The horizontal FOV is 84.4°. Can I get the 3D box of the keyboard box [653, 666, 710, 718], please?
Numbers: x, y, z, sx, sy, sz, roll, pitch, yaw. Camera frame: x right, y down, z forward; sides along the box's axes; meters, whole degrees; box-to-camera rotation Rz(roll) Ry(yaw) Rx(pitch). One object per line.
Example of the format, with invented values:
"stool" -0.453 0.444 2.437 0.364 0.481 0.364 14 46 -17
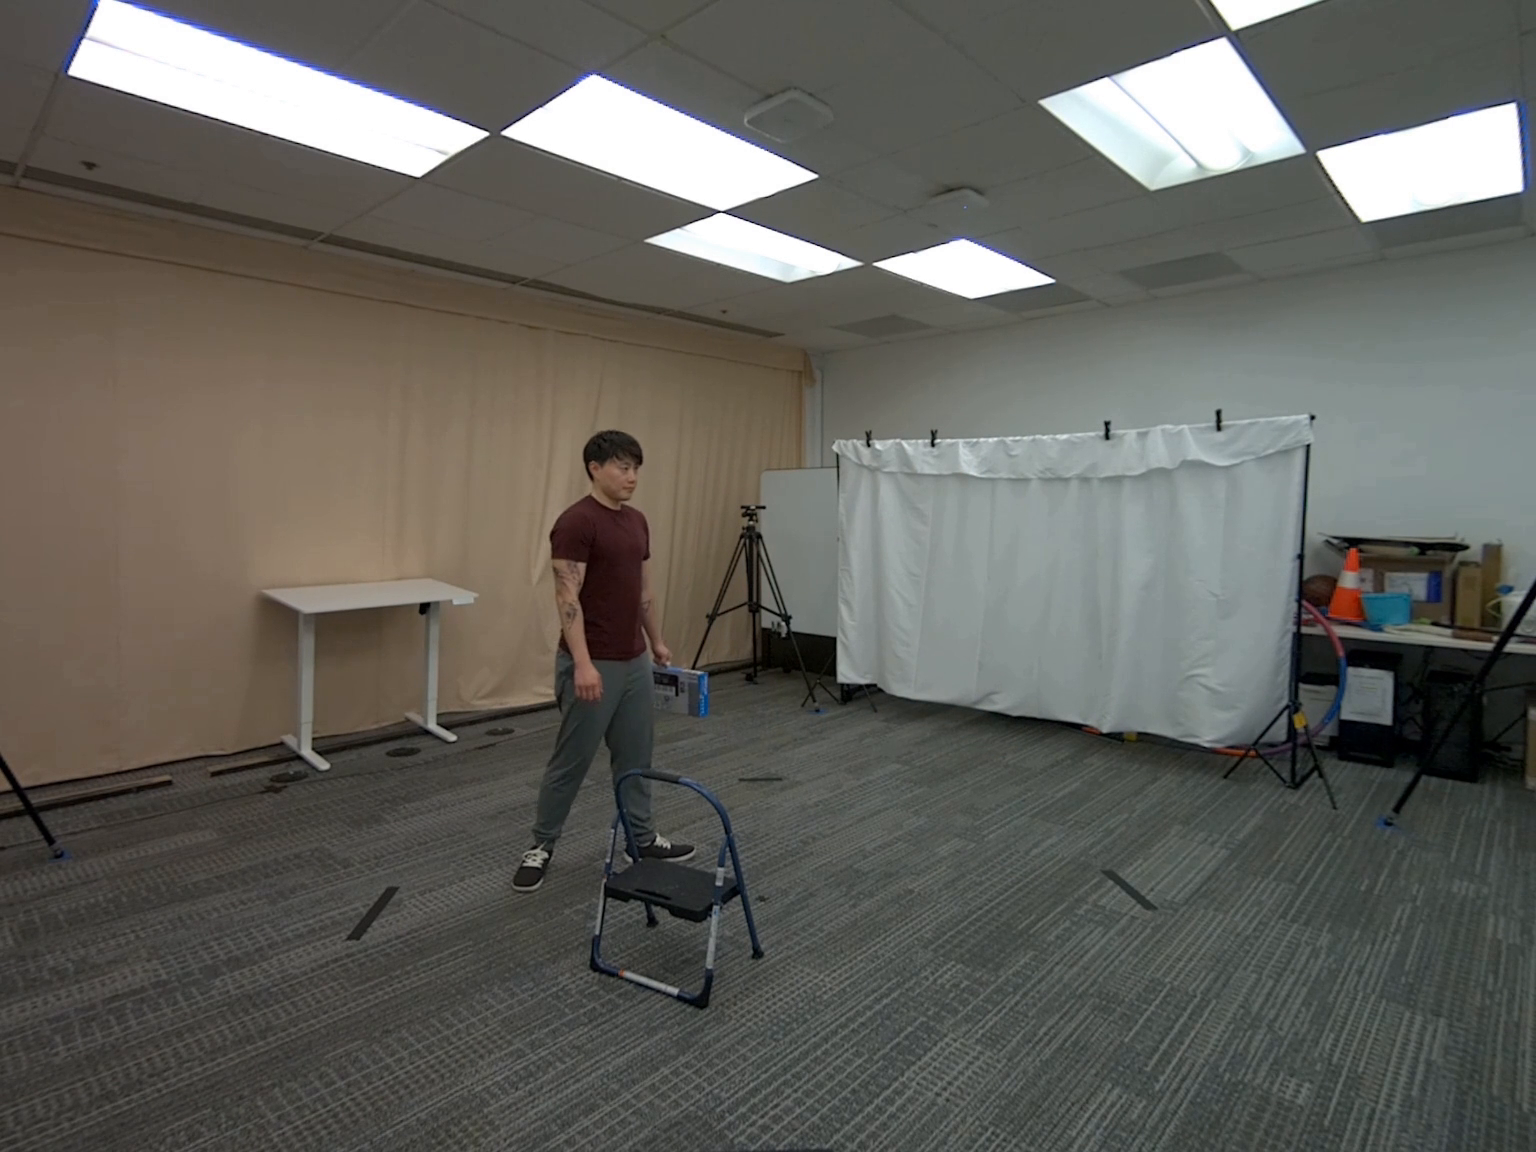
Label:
"keyboard box" -0.430 0.460 3.427 0.450 0.175 0.057 3 4 34
